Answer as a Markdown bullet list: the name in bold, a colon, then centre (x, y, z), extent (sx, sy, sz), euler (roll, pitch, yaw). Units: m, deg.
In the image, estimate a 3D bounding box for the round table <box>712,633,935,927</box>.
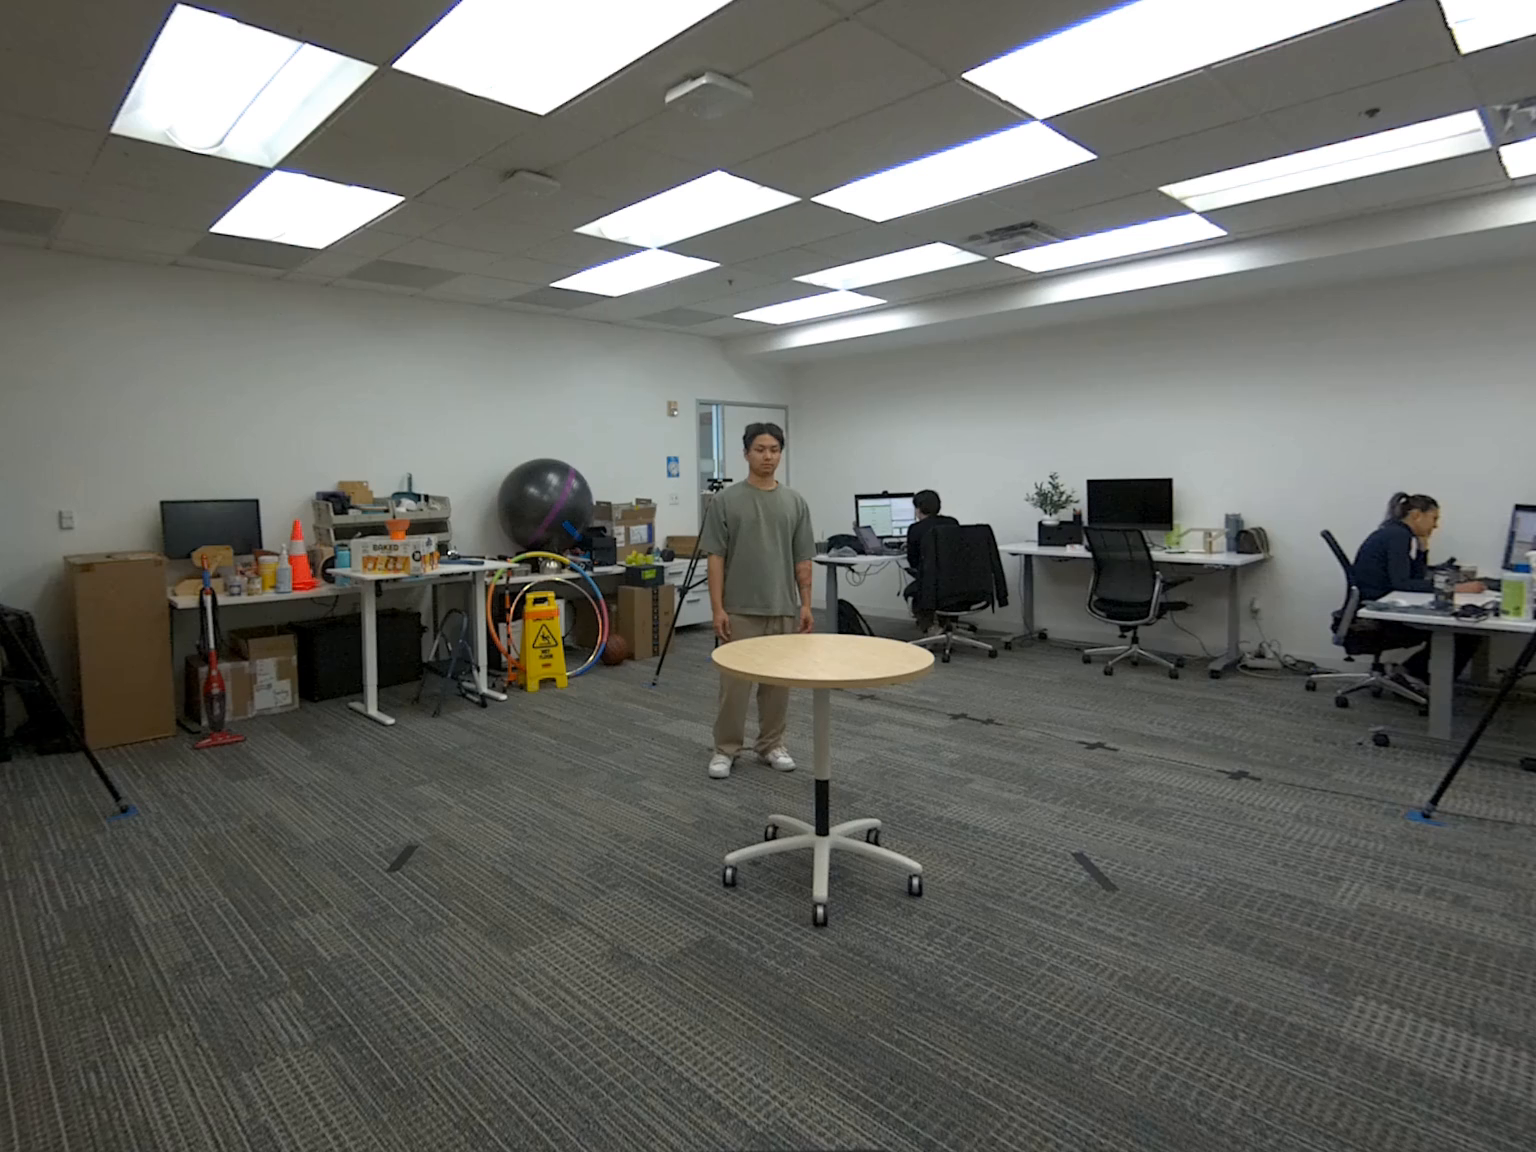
- **round table**: centre (0.188, 0.663, 2.981), extent (0.784, 0.783, 0.789), euler (0, 5, -2)
